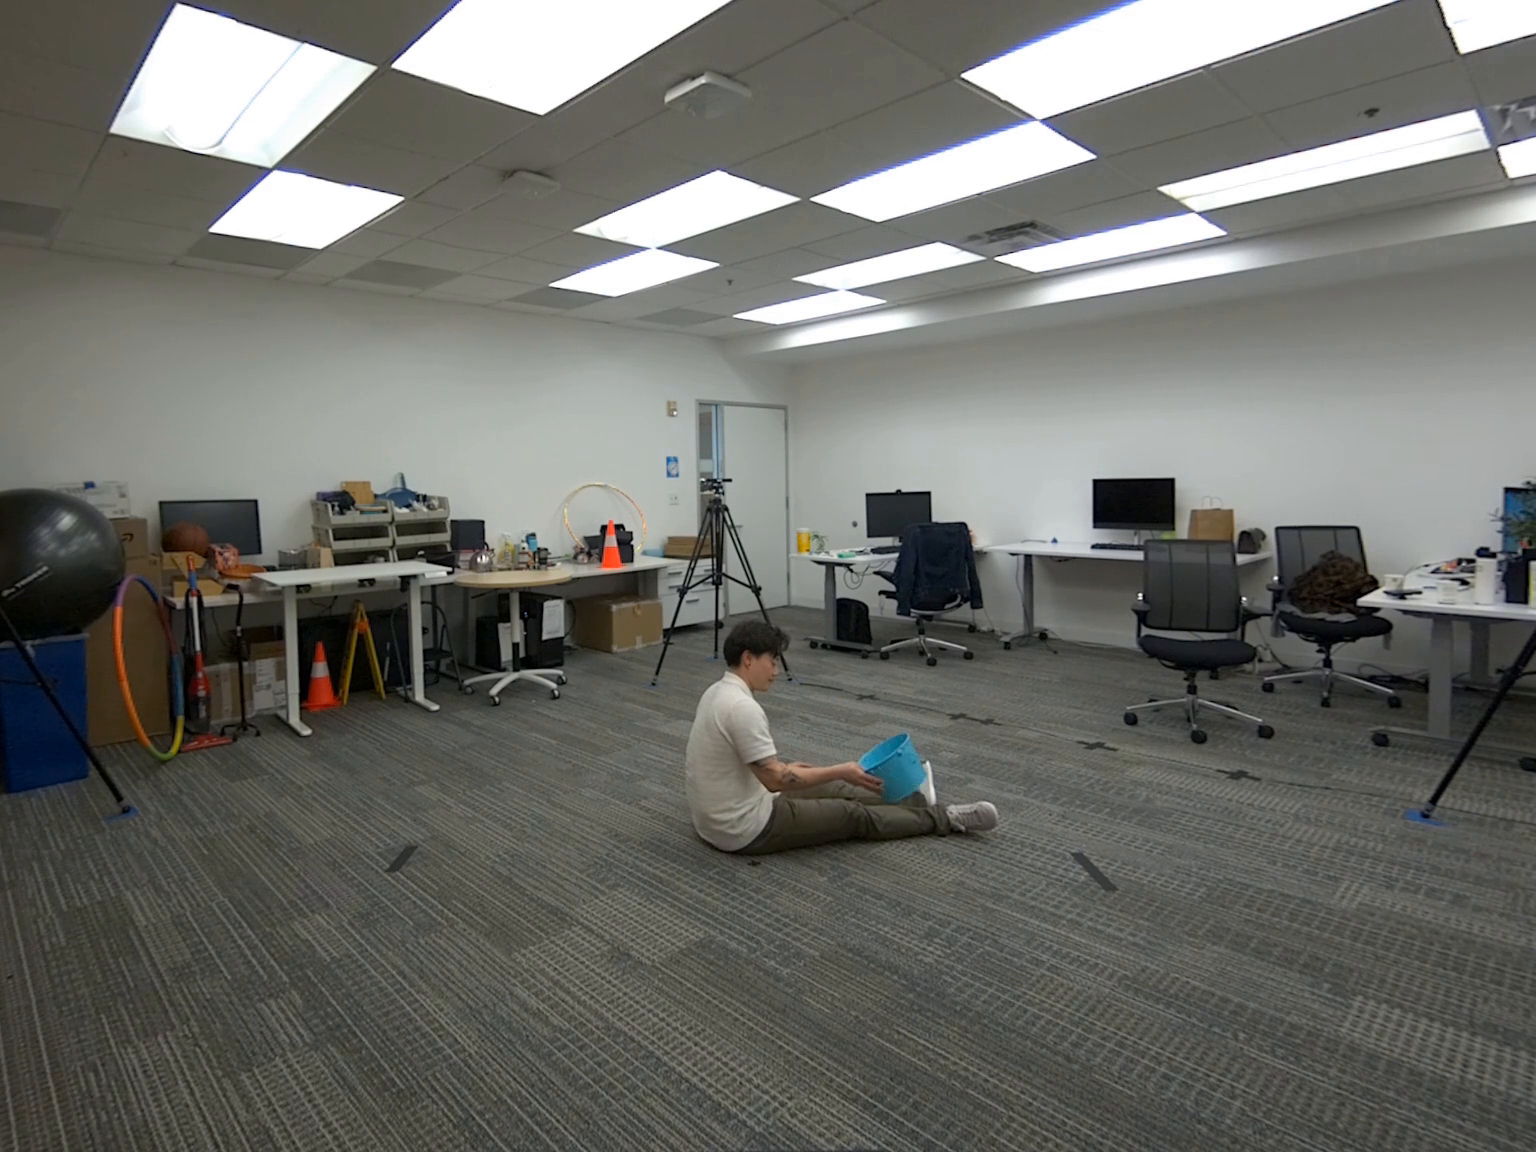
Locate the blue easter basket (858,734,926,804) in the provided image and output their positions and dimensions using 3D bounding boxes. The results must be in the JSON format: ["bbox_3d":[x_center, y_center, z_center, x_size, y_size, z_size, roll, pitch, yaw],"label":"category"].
[{"bbox_3d":[0.448,0.698,3.077,0.243,0.156,0.243,-33,0,-3],"label":"blue easter basket"}]
